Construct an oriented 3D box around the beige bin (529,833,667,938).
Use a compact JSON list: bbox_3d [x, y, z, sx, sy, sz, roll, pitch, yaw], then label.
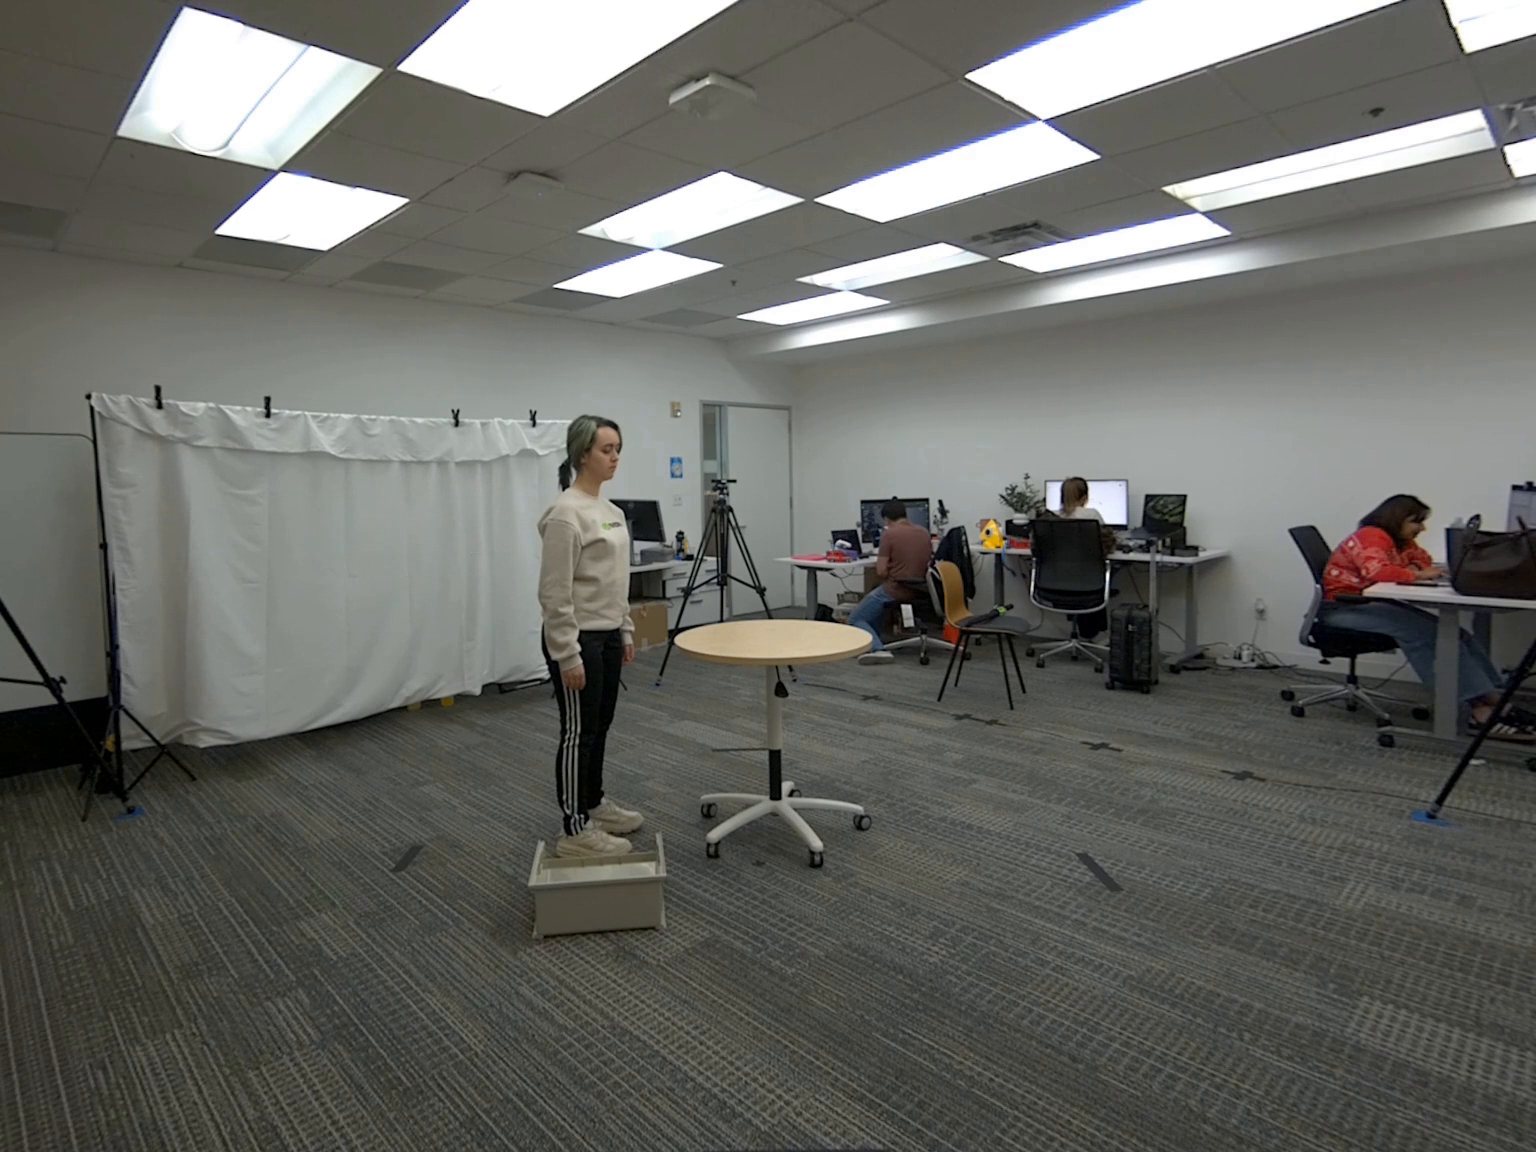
[{"bbox_3d":[-0.551,1.005,2.813,0.419,0.188,0.382,-1,6,-8],"label":"beige bin"}]
